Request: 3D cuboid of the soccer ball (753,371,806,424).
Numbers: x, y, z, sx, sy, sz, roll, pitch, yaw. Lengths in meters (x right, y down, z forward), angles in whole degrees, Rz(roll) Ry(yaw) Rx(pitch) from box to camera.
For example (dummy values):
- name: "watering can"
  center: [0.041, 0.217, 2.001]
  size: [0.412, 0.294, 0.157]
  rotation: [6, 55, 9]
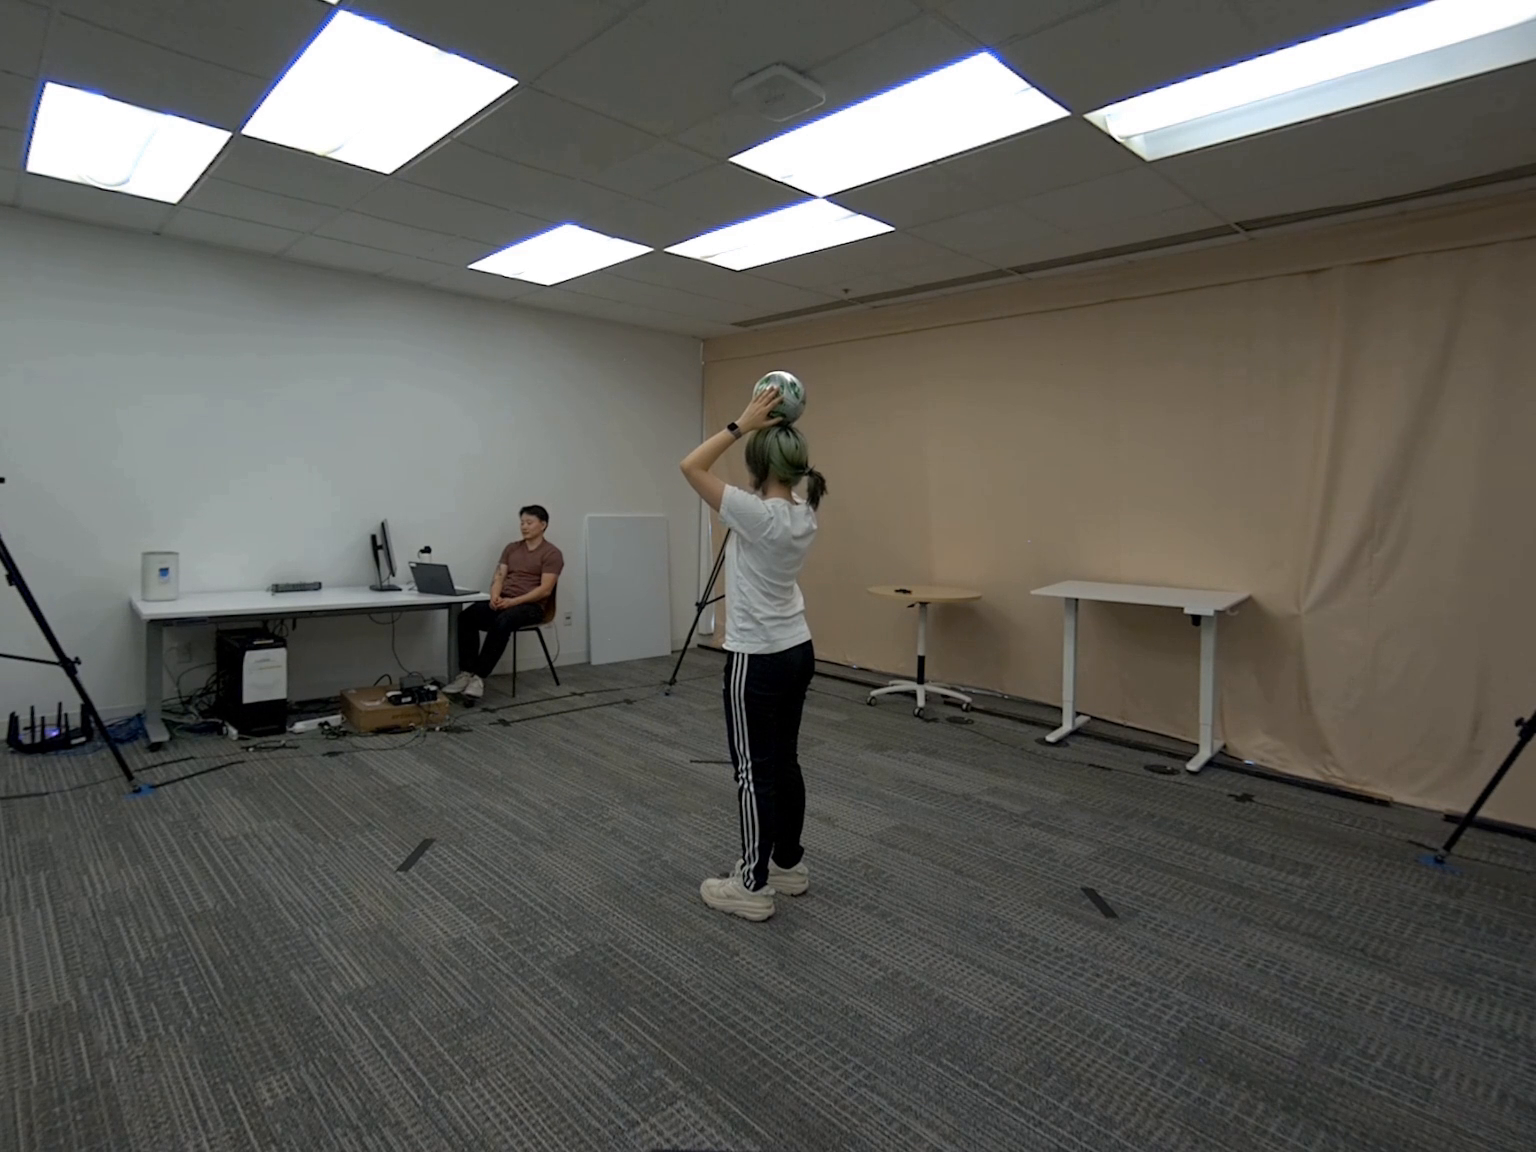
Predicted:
- name: "soccer ball"
  center: [0.032, -0.595, 2.851]
  size: [0.187, 0.187, 0.188]
  rotation: [1, 4, -1]
